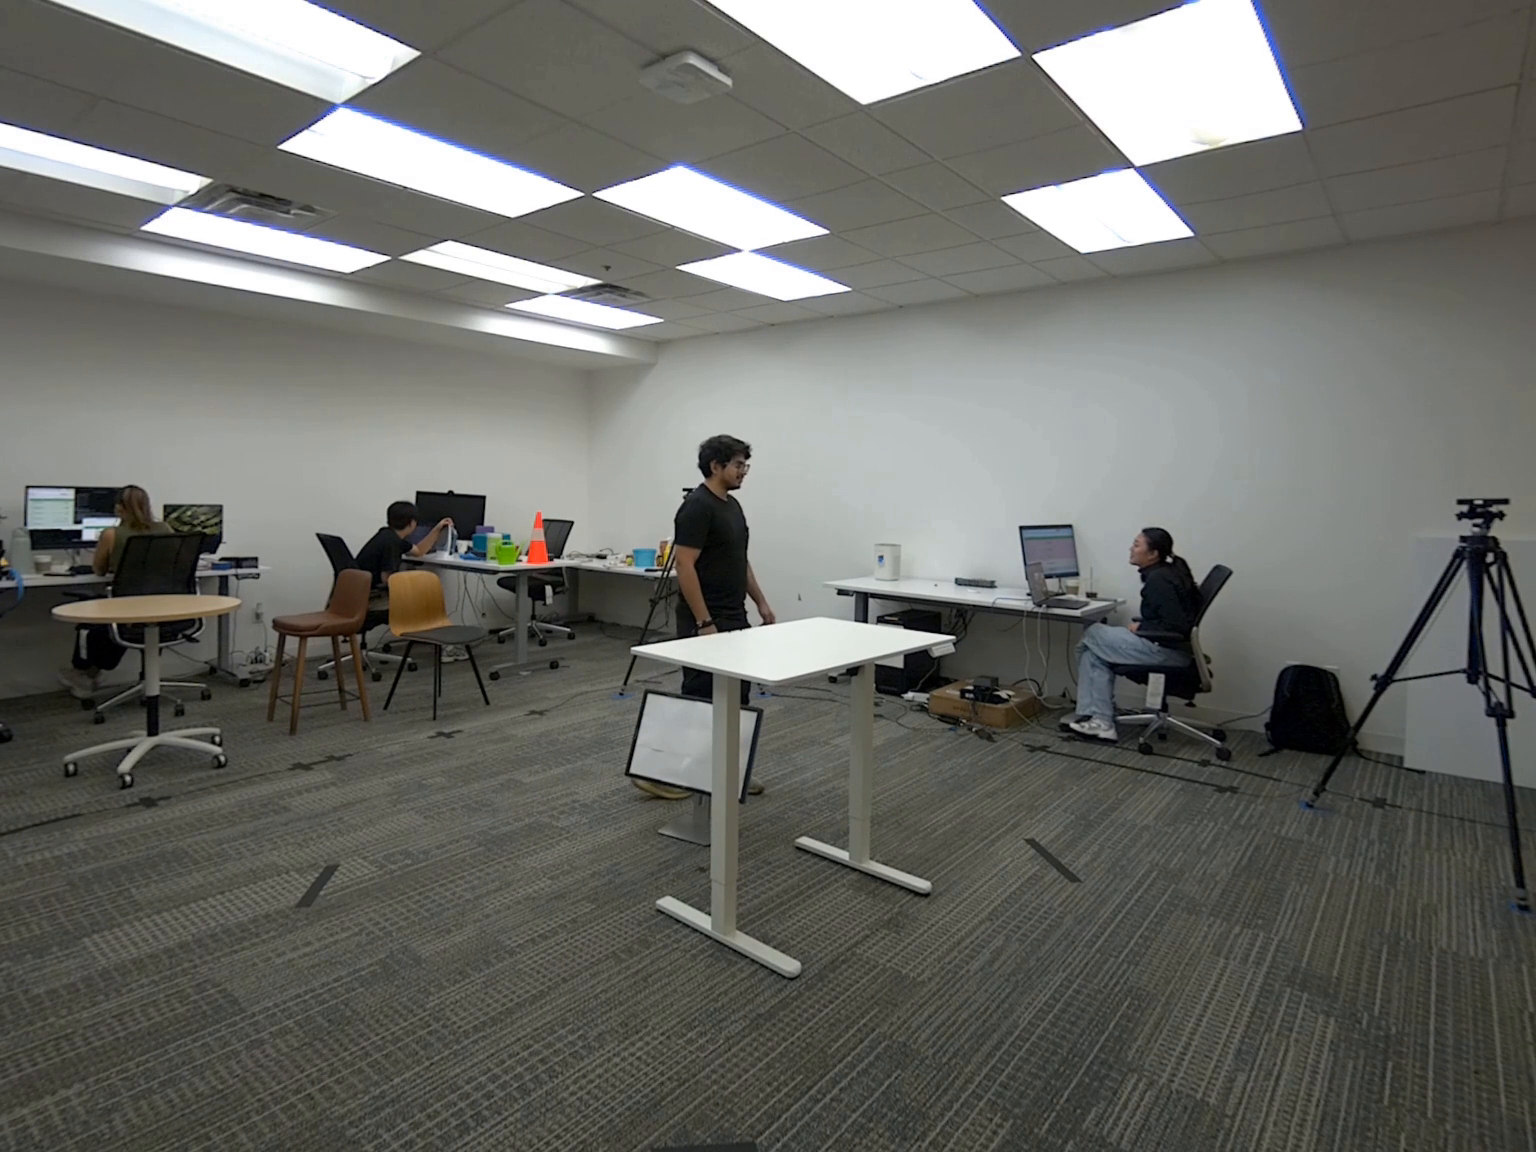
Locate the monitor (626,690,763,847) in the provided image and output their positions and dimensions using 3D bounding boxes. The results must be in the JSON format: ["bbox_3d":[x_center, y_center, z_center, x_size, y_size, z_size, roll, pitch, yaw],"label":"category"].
[{"bbox_3d":[-0.287,0.767,3.467,0.581,0.557,0.203,3,-7,28],"label":"monitor"}]
